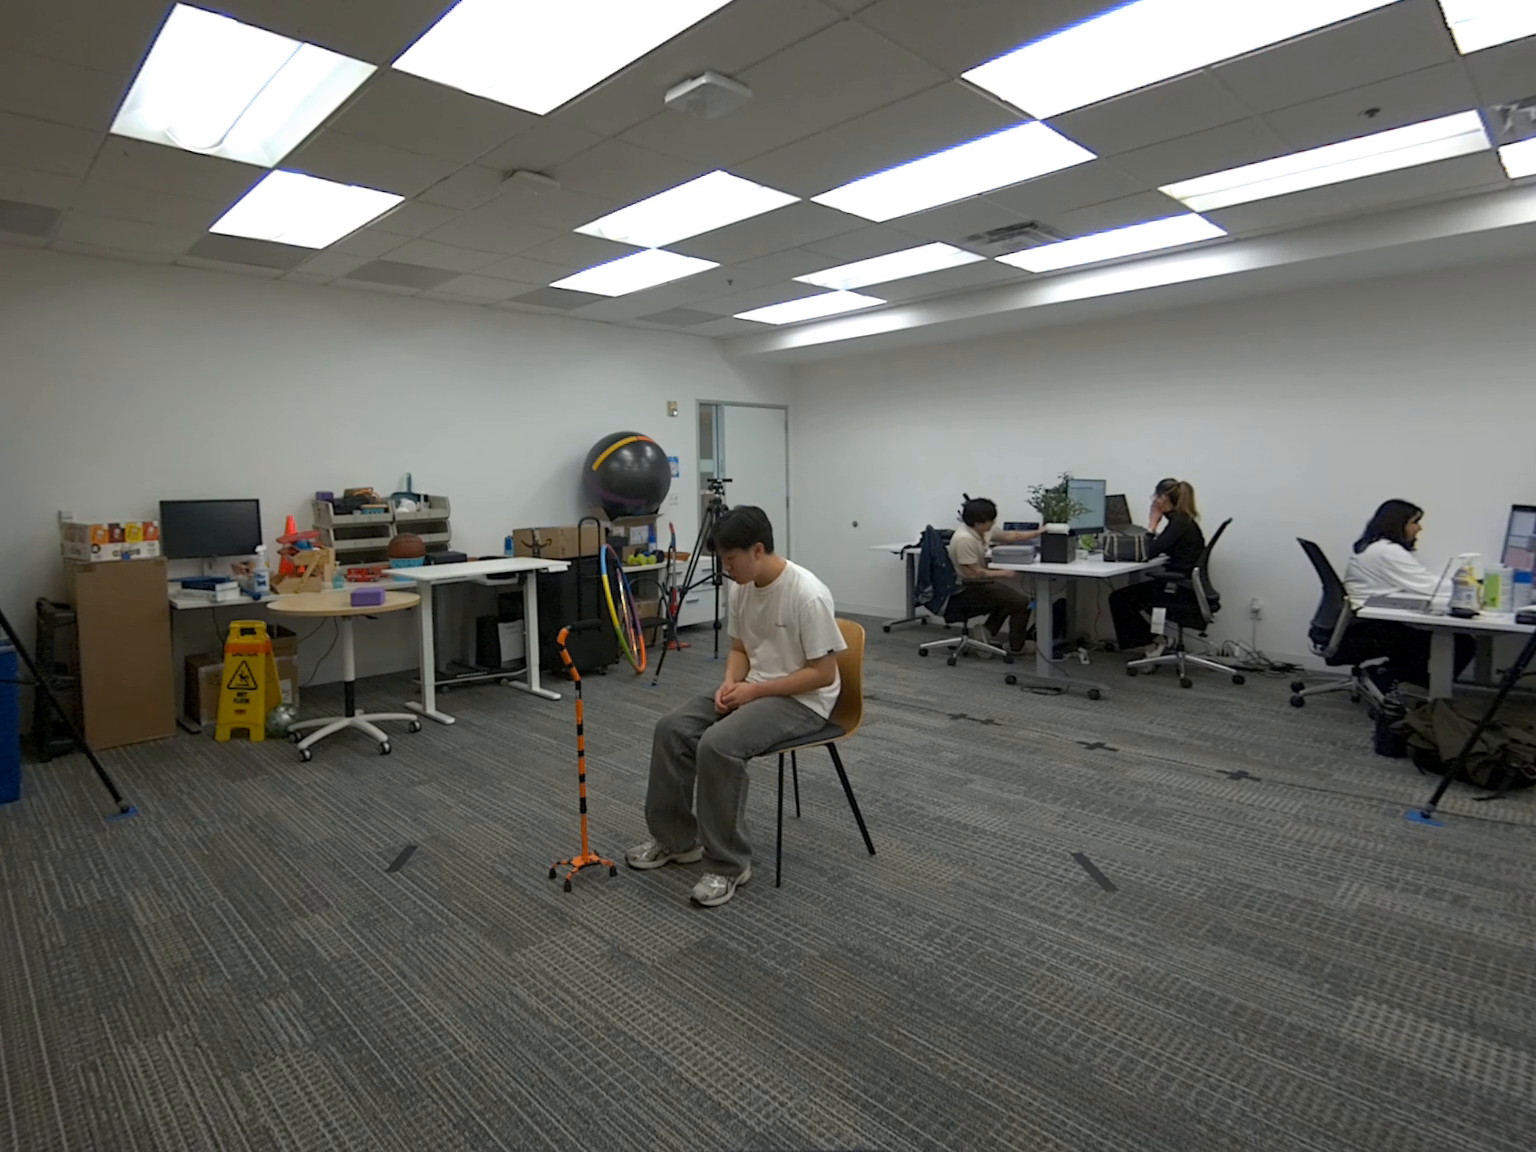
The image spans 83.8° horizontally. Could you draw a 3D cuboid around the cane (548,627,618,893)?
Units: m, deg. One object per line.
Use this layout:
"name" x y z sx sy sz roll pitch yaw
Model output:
"cane" -0.666 0.613 3.006 0.201 0.904 0.156 -5 5 -39
